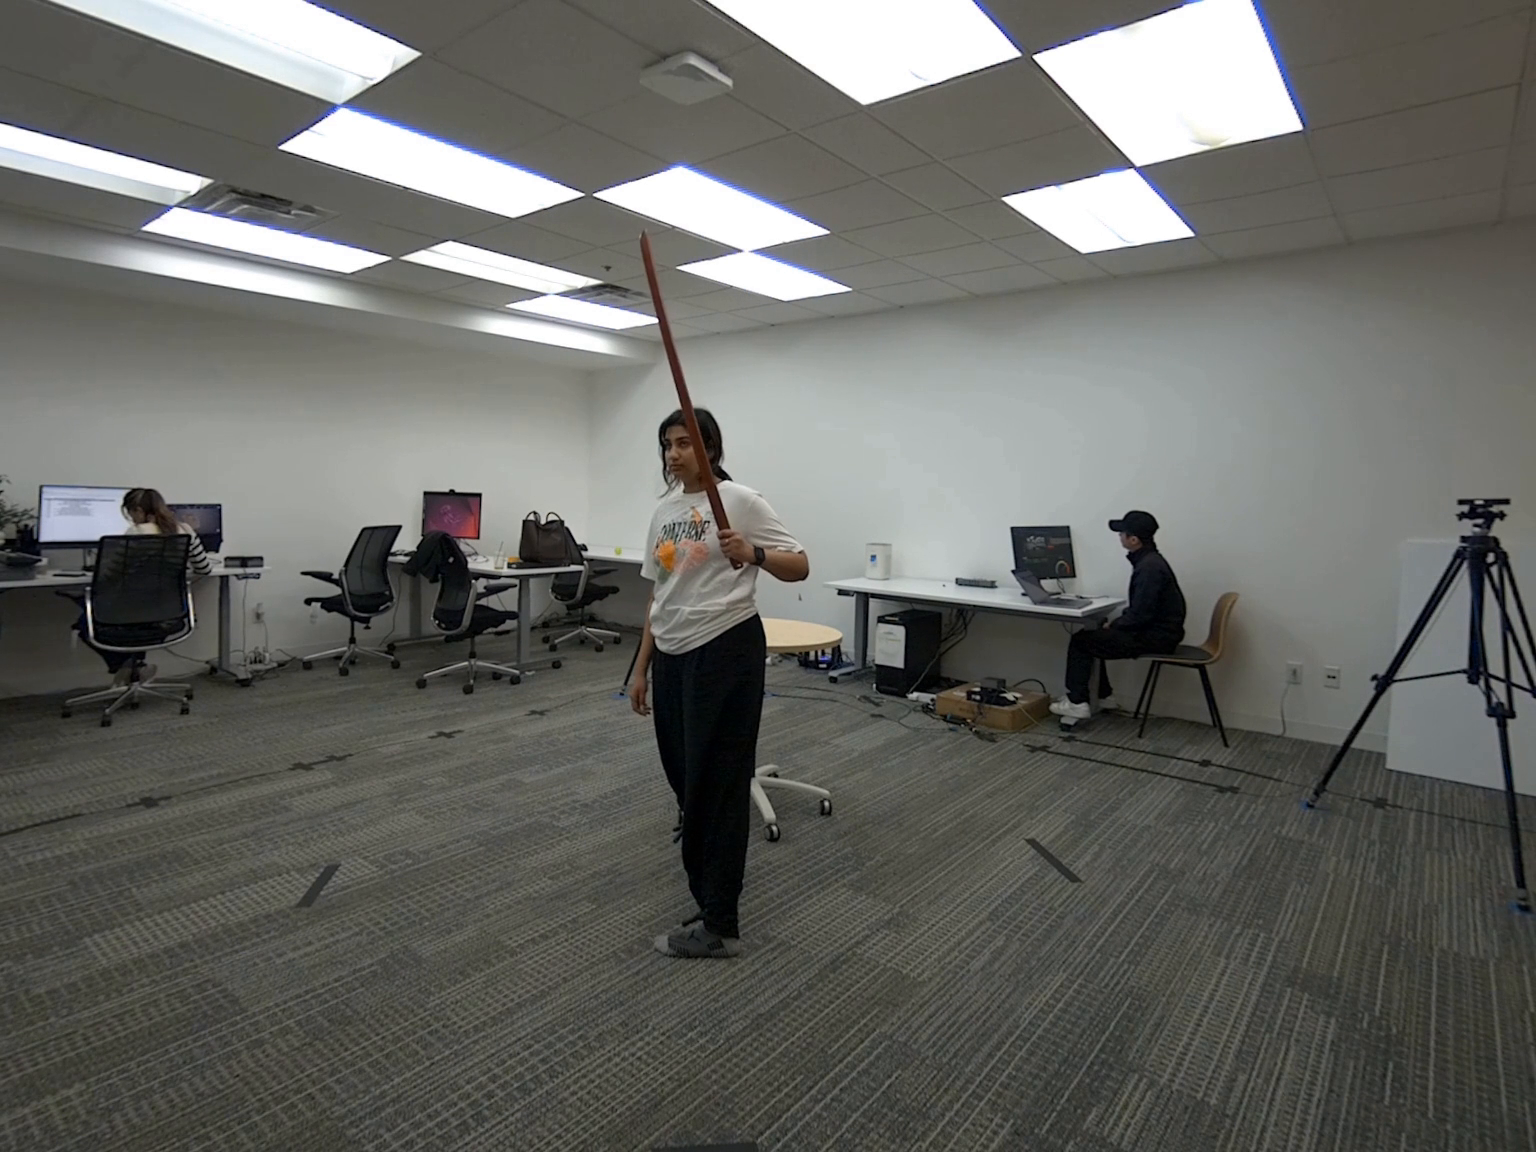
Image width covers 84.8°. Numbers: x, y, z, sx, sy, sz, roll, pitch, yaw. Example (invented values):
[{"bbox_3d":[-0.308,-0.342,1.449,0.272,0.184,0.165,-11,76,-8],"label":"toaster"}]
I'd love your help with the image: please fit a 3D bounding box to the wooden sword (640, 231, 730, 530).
[{"bbox_3d":[-0.251,-0.500,2.494,0.050,1.019,0.024,-19,5,-28],"label":"wooden sword"}]
